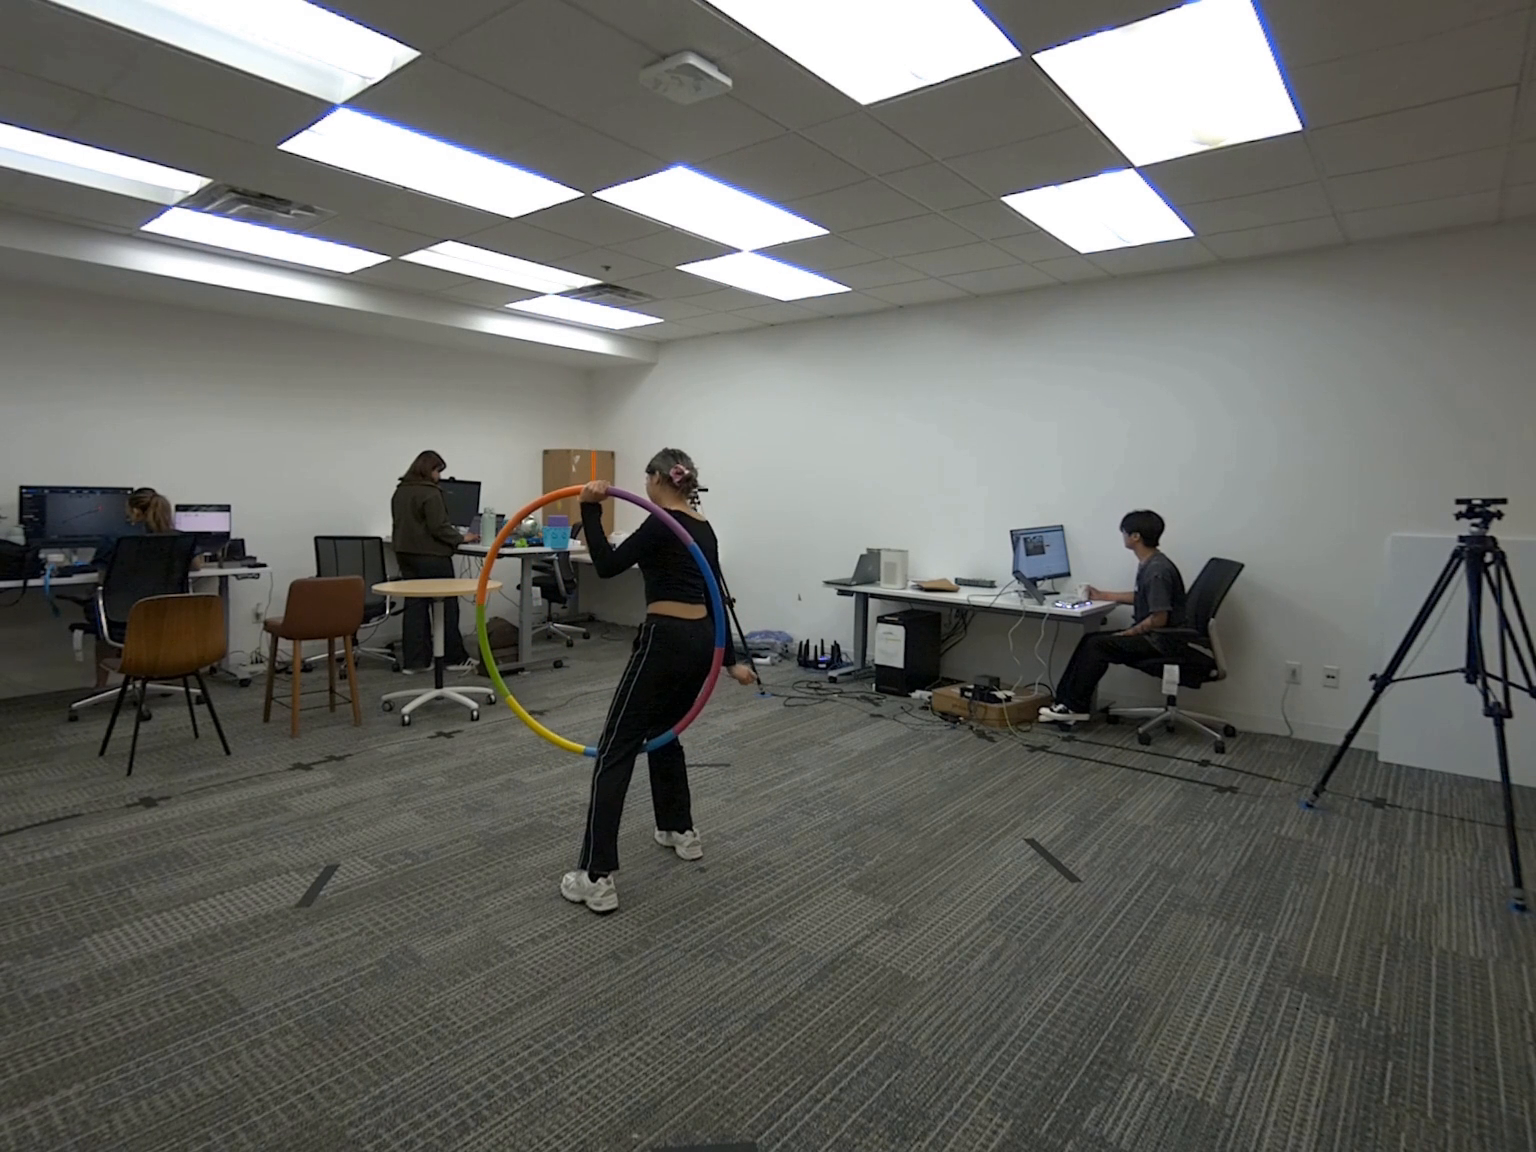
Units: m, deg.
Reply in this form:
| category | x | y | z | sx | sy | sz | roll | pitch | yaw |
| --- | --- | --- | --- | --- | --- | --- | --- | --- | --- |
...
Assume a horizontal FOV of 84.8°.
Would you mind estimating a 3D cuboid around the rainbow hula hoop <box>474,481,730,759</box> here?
| category | x | y | z | sx | sy | sz | roll | pitch | yaw |
| --- | --- | --- | --- | --- | --- | --- | --- | --- | --- |
| rainbow hula hoop | -0.631 | 0.165 | 3.065 | 0.995 | 0.972 | 0.035 | 2 | 7 | 16 |
